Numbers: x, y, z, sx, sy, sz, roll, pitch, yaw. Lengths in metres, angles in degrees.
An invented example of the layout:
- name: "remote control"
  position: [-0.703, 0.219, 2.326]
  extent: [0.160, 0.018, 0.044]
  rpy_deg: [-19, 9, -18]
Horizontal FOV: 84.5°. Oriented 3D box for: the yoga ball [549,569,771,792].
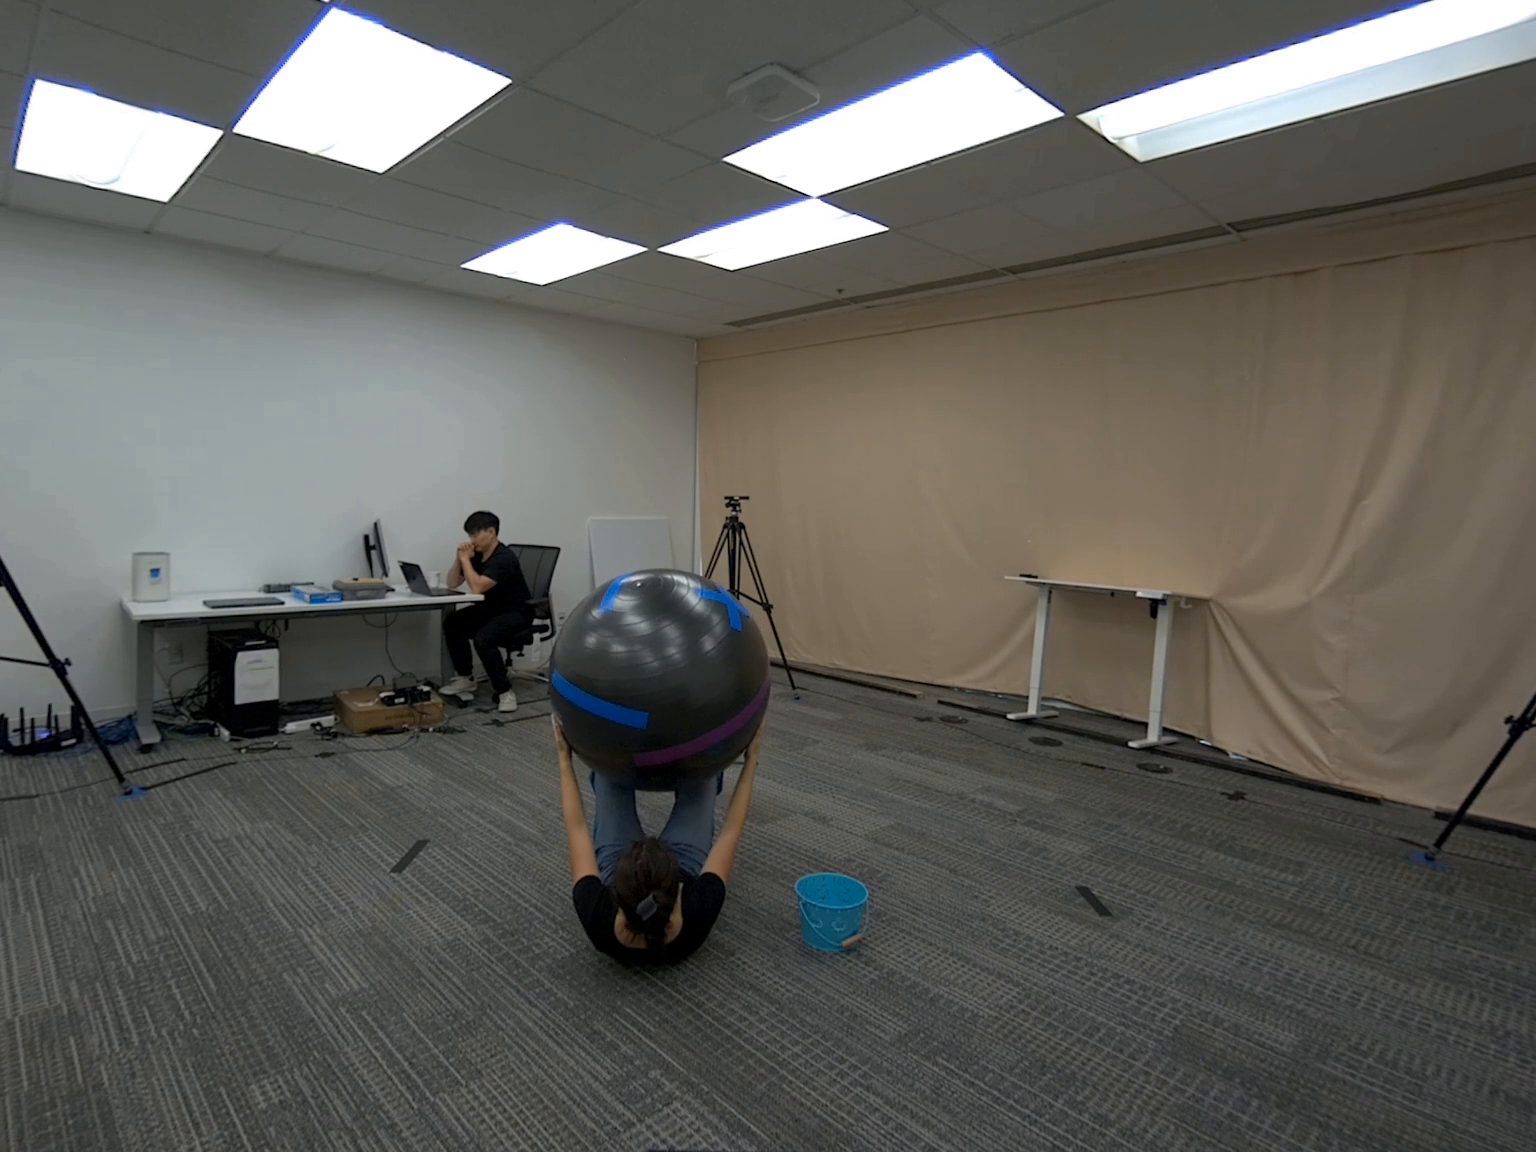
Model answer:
- name: "yoga ball"
  position: [-0.381, 0.358, 2.893]
  extent: [0.757, 0.756, 0.761]
  rpy_deg: [1, 4, -1]
